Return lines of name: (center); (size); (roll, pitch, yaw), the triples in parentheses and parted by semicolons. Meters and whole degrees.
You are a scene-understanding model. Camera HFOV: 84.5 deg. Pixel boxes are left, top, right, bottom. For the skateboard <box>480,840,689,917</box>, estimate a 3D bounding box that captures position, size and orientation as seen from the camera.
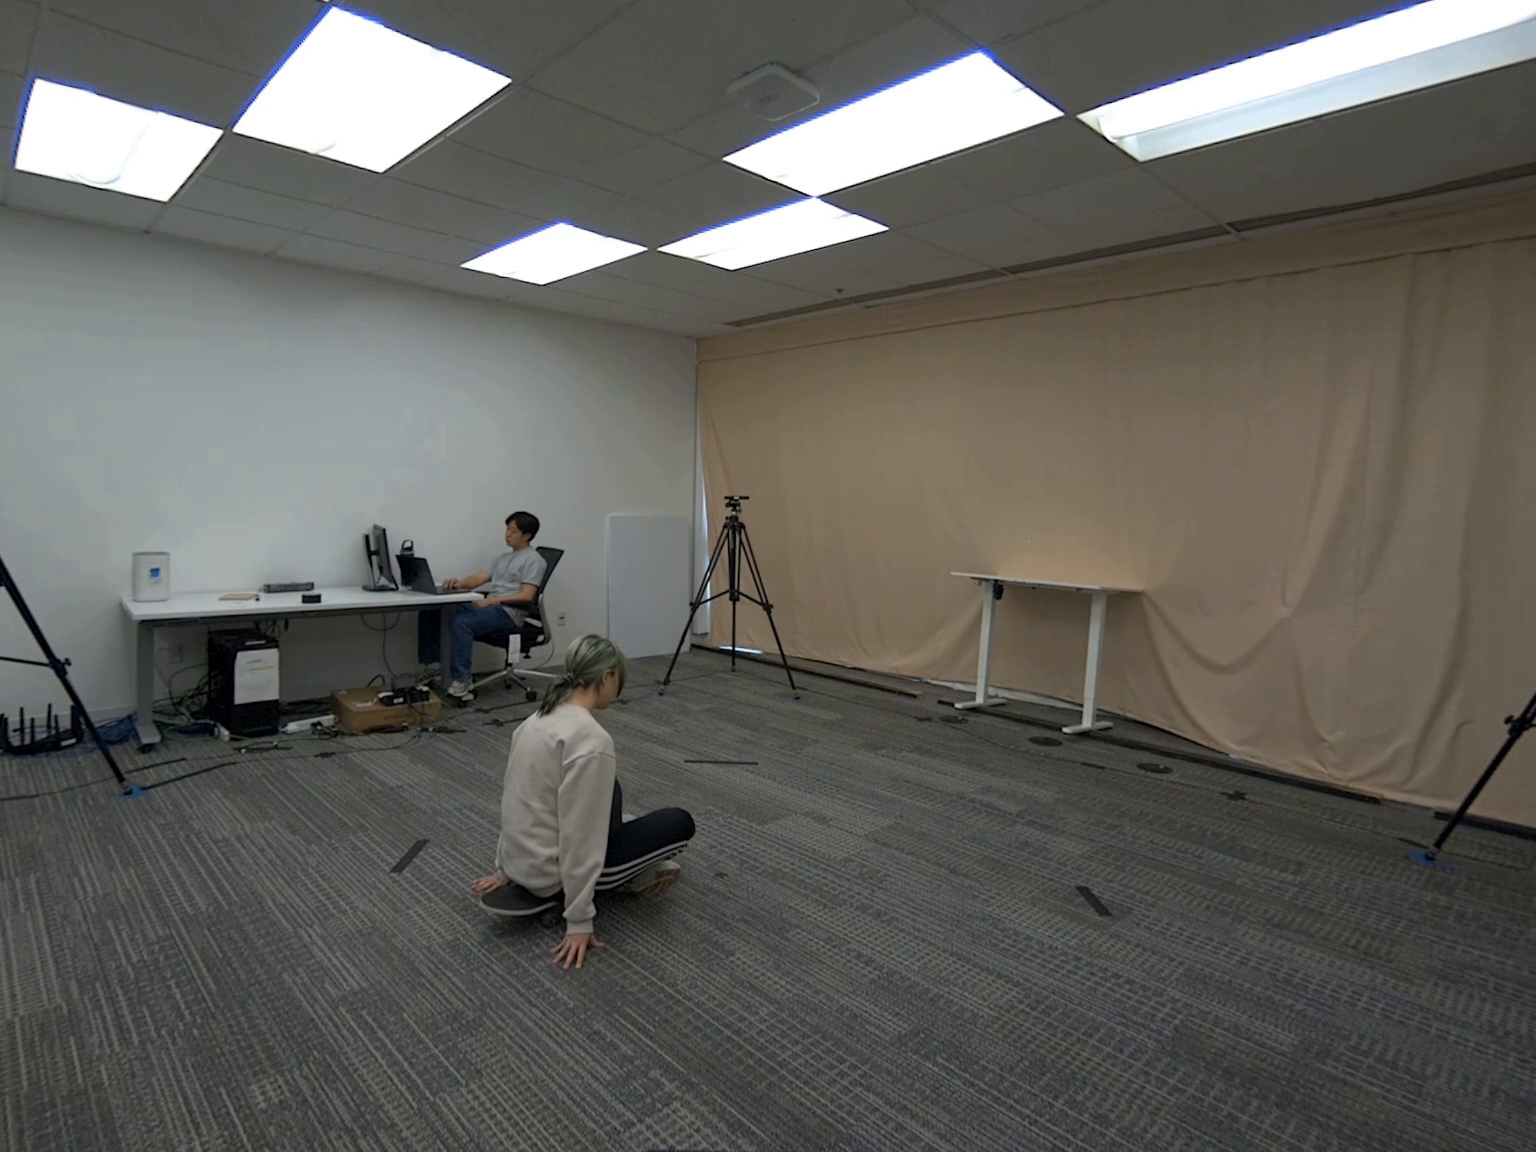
skateboard: (-0.619, 1.057, 2.908); (0.198, 0.110, 0.768); (-1, 3, 42)
